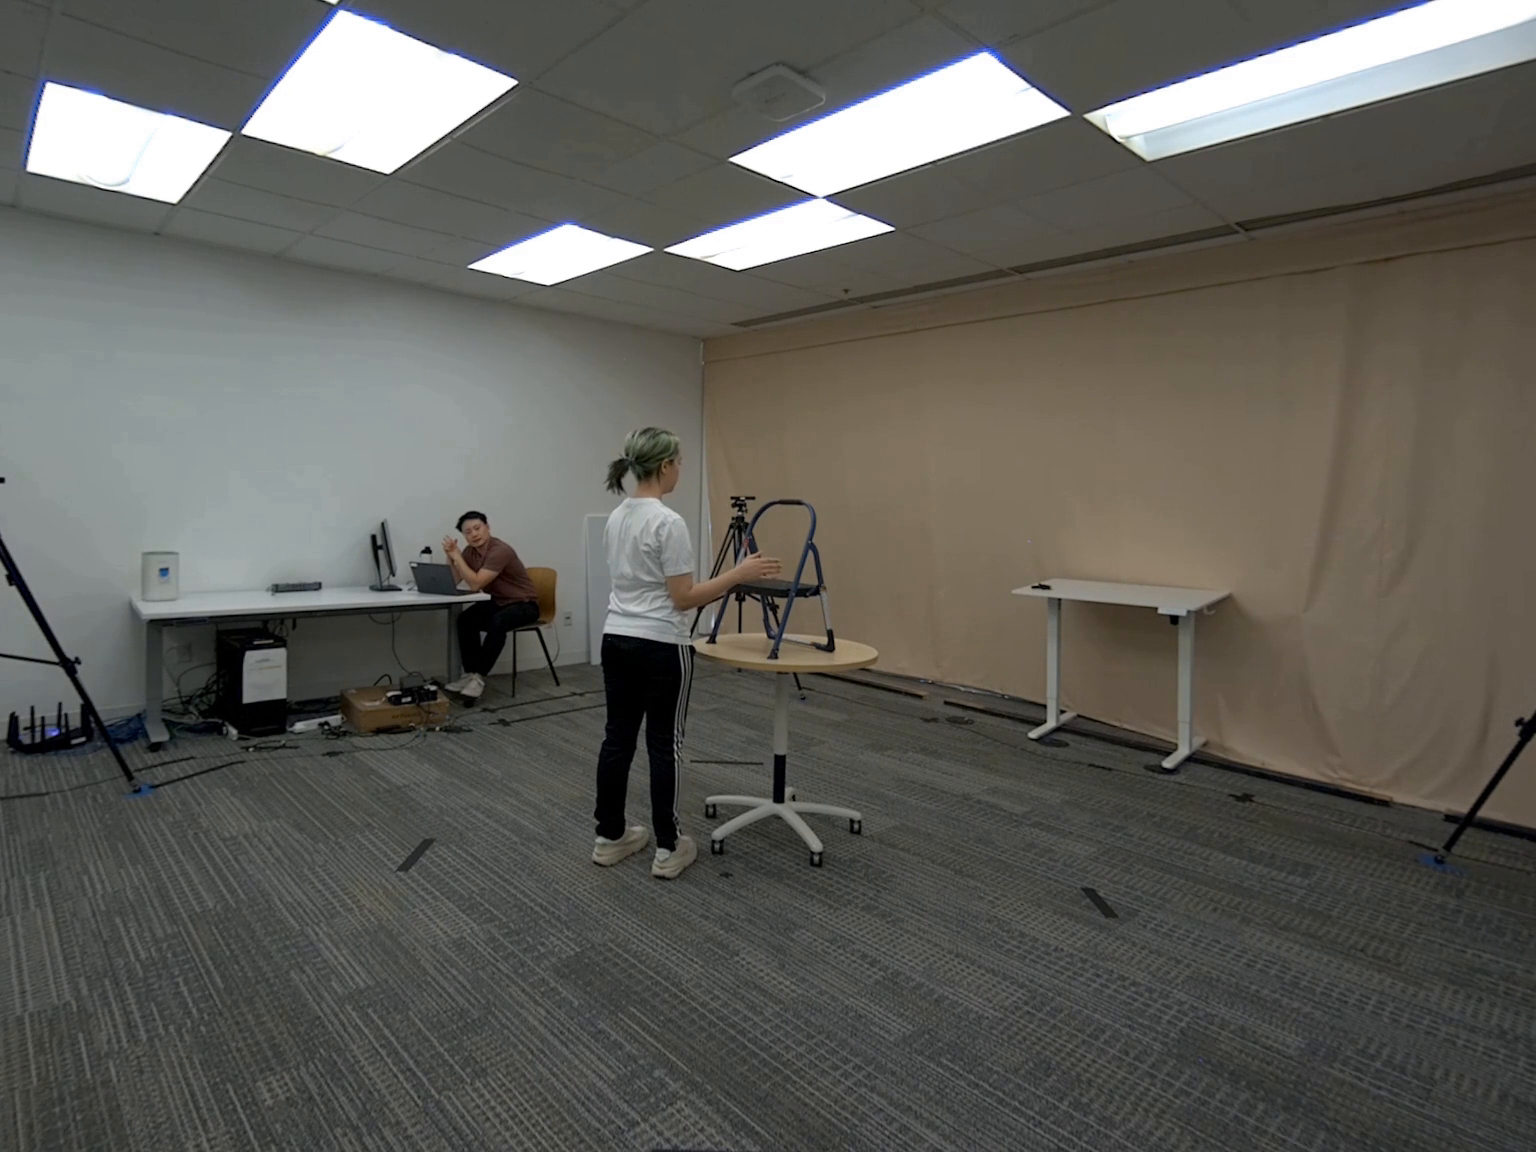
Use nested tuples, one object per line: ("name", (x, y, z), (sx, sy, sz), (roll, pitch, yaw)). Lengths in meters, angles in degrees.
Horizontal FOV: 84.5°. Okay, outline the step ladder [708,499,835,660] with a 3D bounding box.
("step ladder", (0.014, -0.008, 3.428), (0.341, 0.604, 0.441), (-1, 5, -39))
